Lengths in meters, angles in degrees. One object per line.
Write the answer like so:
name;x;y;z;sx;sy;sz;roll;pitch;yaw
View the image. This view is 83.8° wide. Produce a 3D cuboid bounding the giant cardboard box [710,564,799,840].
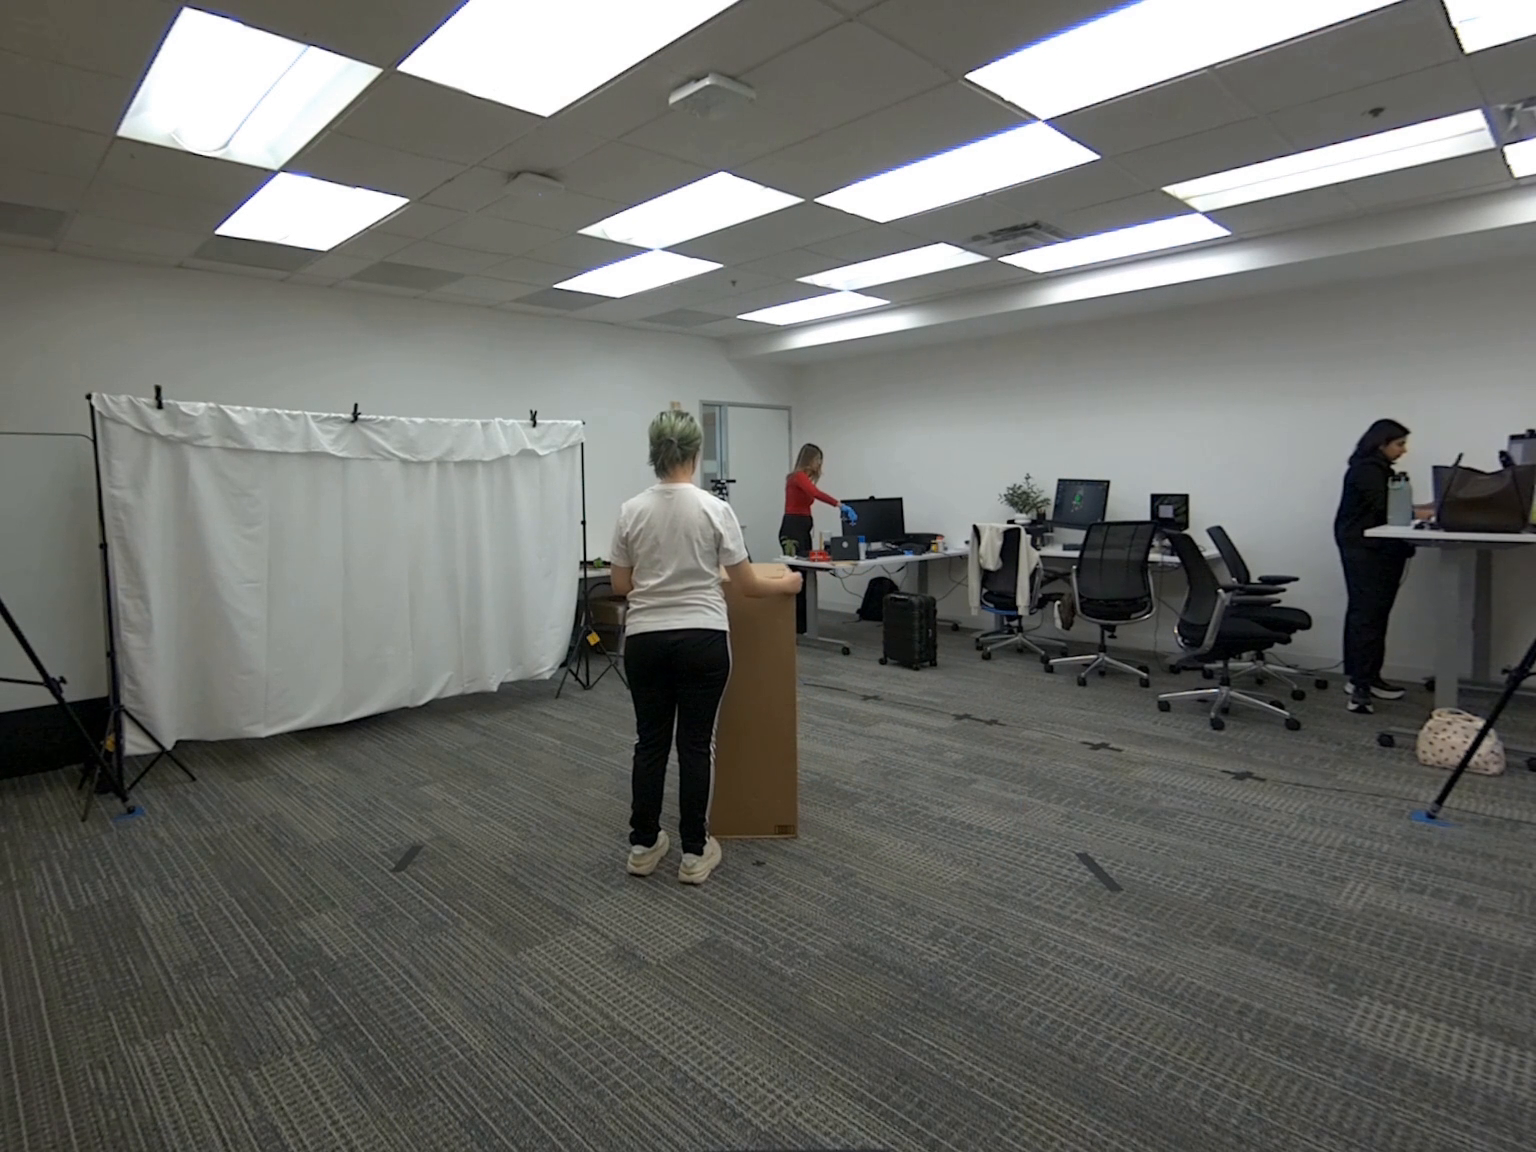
giant cardboard box;-0.105;0.488;3.577;0.426;1.022;0.580;0;5;-2
